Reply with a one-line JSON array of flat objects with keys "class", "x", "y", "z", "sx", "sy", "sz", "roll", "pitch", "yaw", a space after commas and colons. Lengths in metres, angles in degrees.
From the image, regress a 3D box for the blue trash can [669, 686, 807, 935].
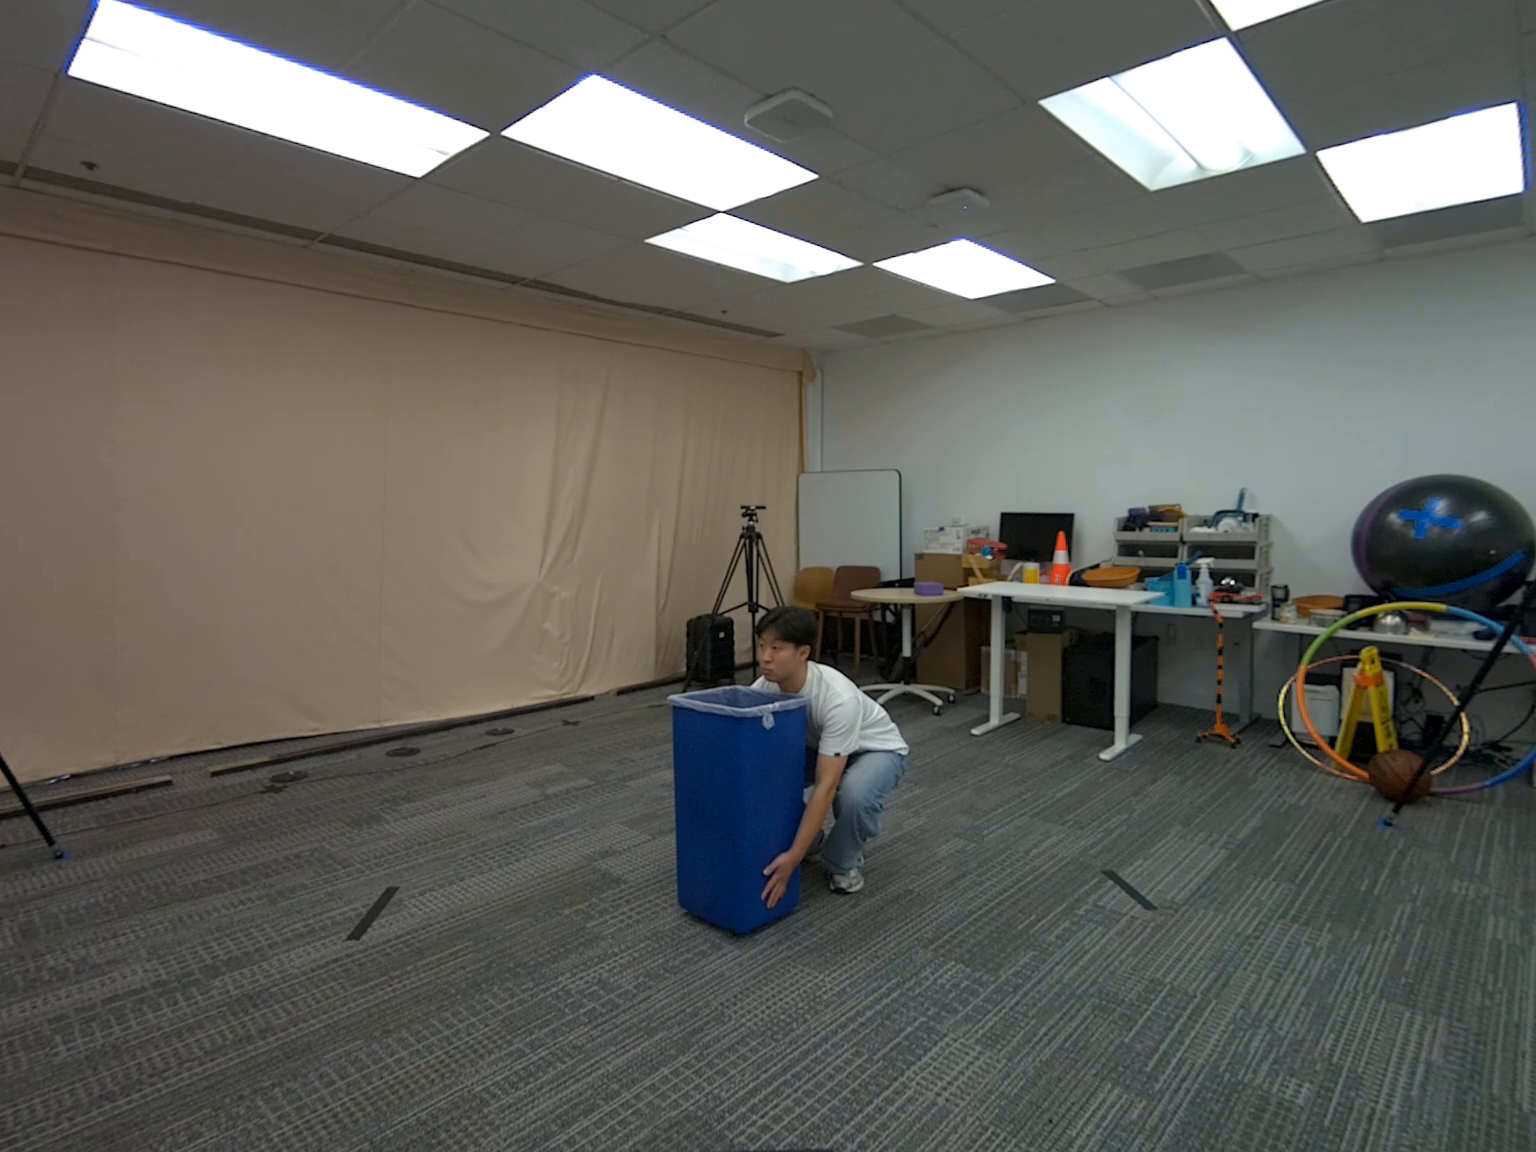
[{"class": "blue trash can", "x": -0.106, "y": 0.768, "z": 2.870, "sx": 0.386, "sy": 0.713, "sz": 0.366, "roll": 2, "pitch": 1, "yaw": 41}]
